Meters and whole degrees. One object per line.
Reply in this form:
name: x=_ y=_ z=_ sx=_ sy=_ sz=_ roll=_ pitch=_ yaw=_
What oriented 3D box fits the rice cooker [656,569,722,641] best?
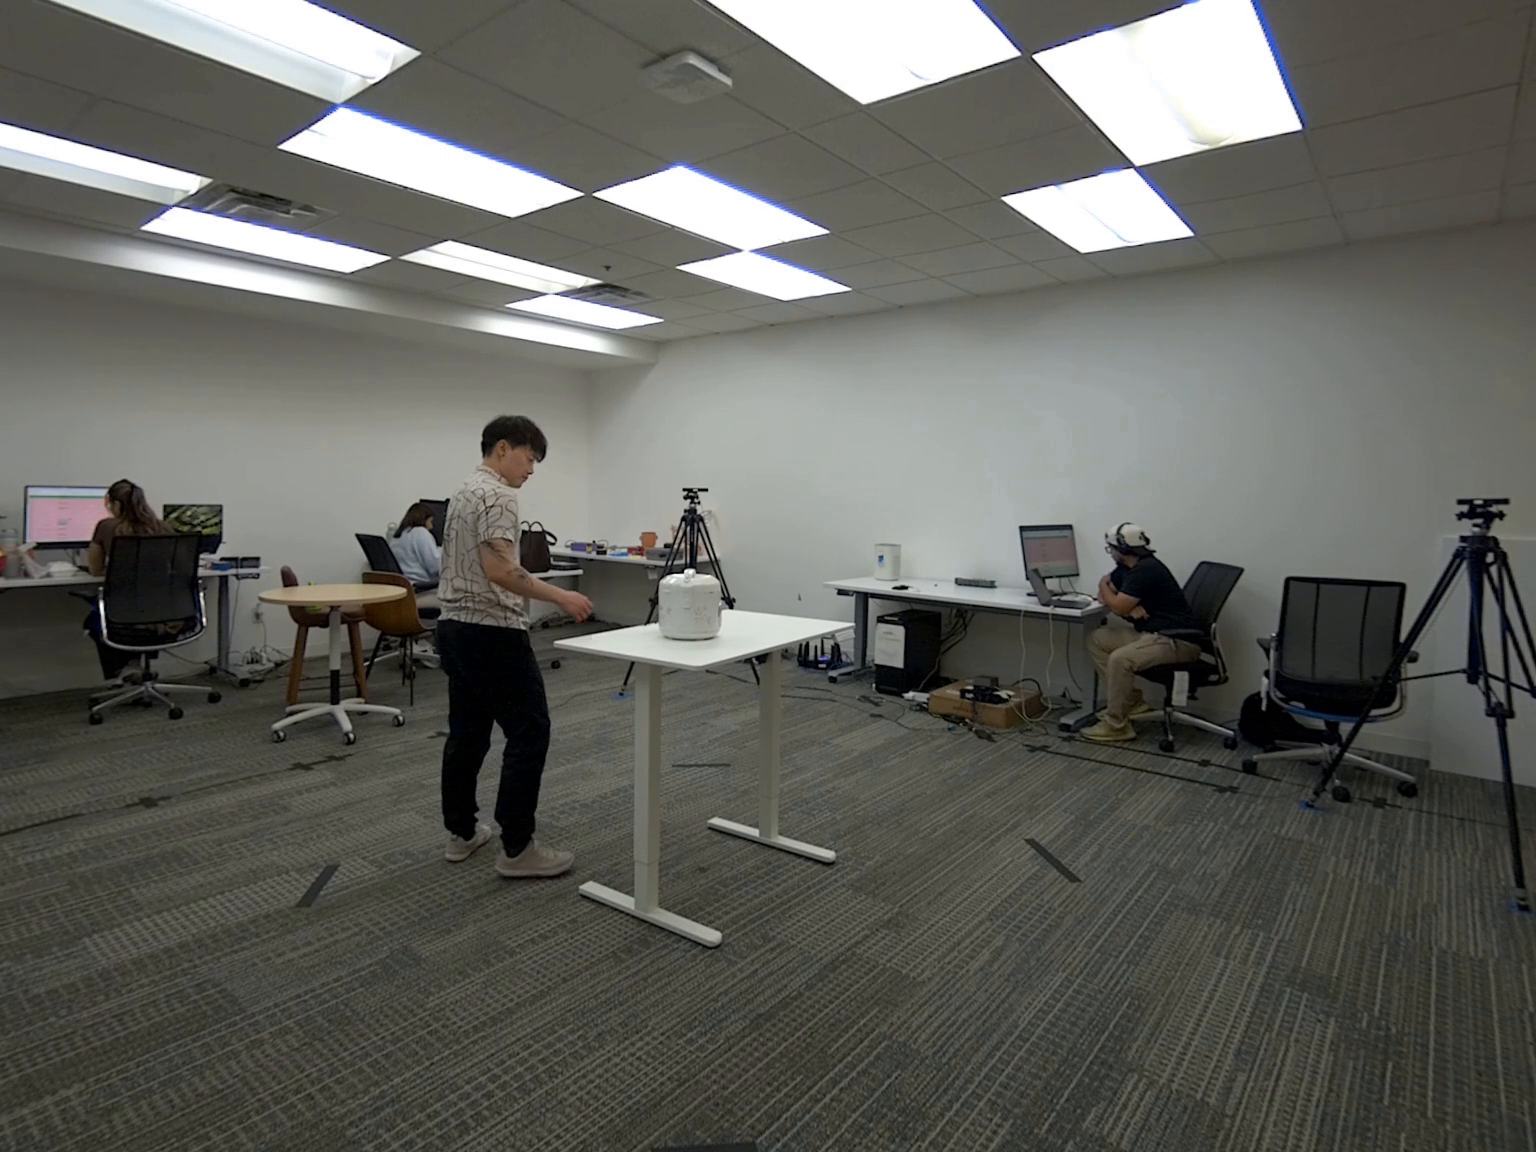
rice cooker: x=-0.276 y=0.090 z=2.914 sx=0.219 sy=0.232 sz=0.220 roll=1 pitch=4 yaw=4
